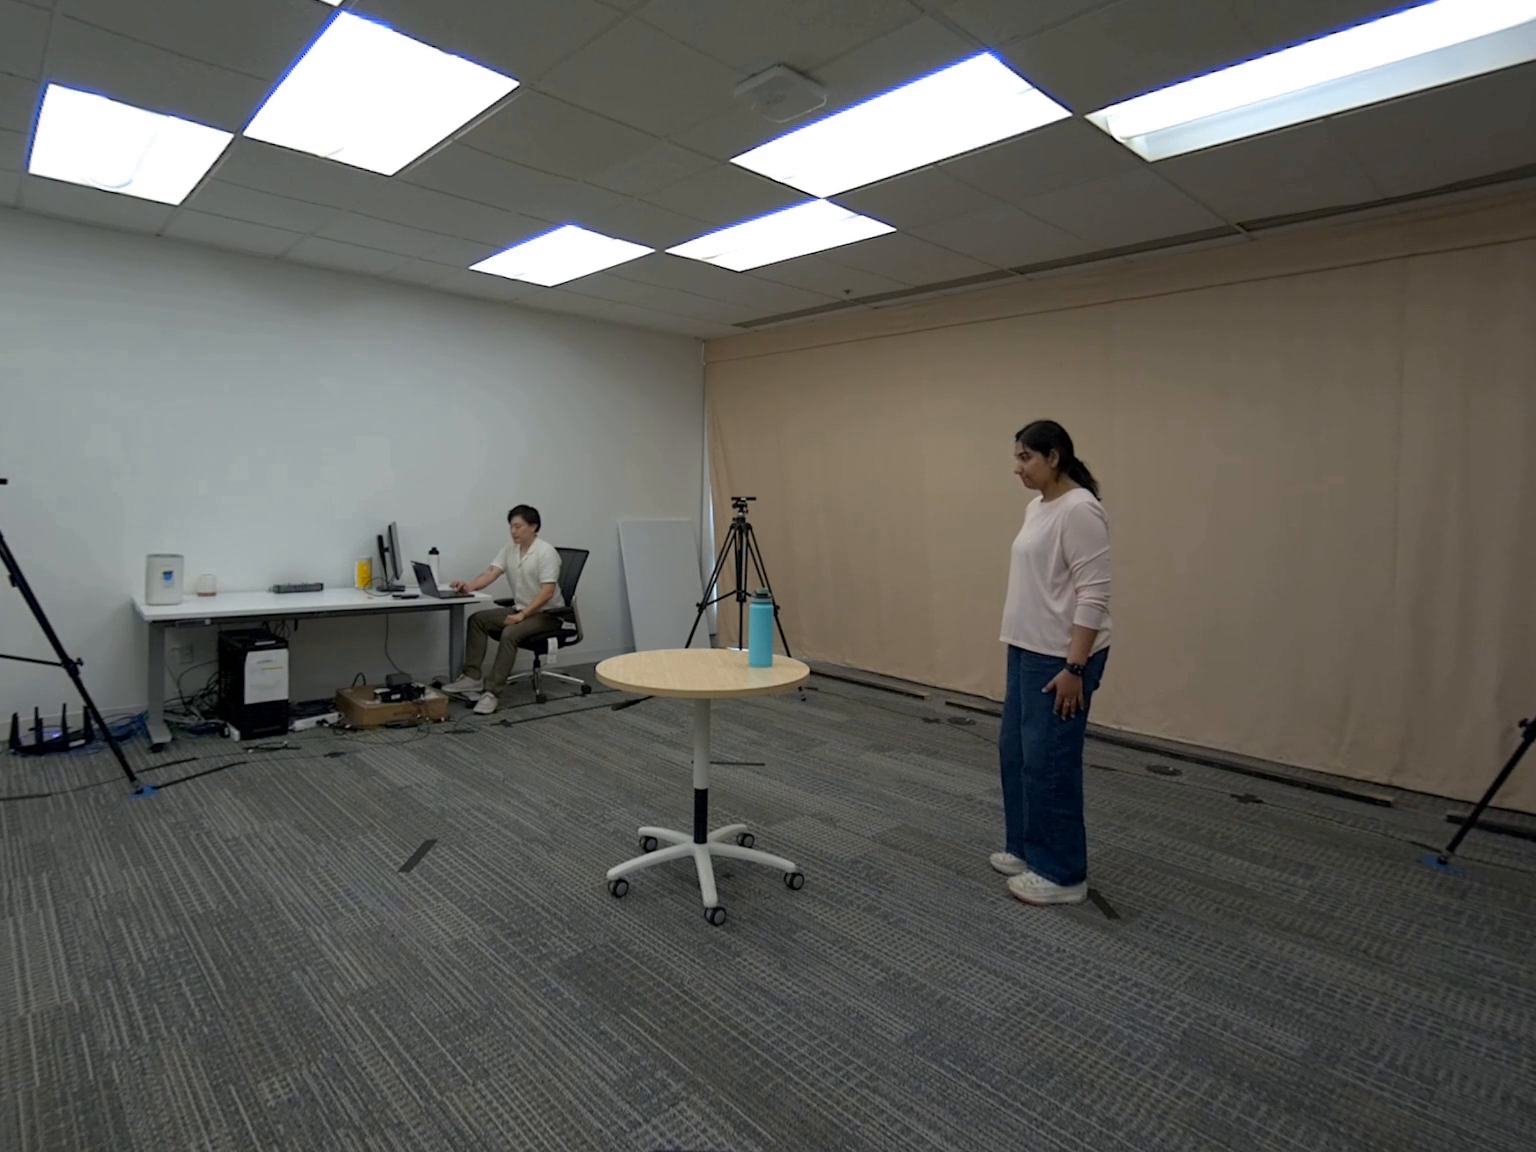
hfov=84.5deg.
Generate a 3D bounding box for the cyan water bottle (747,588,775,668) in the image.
[{"bbox_3d":[-0.028,0.189,3.074,0.092,0.283,0.092,2,2,-1],"label":"cyan water bottle"}]
